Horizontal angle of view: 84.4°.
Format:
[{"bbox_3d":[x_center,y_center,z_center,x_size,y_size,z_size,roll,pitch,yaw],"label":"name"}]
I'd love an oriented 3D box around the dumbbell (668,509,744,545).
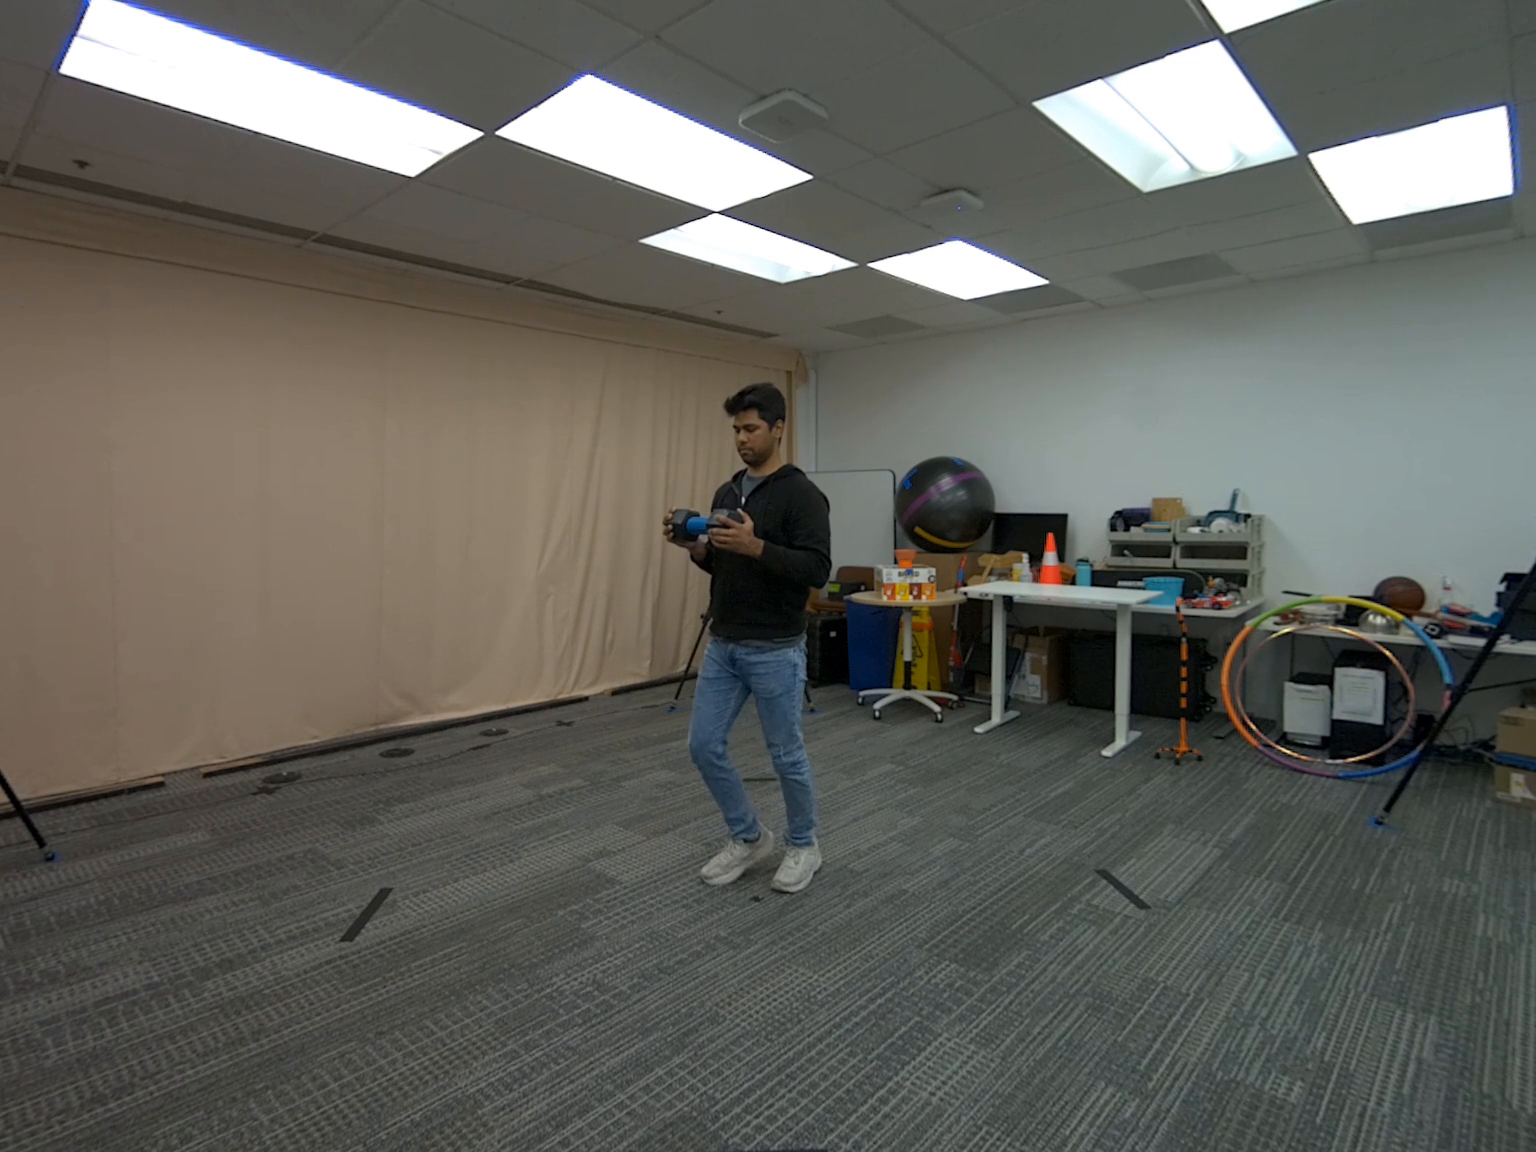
[{"bbox_3d":[-0.209,-0.162,2.844,0.107,0.121,0.303,-30,22,-35],"label":"dumbbell"}]
